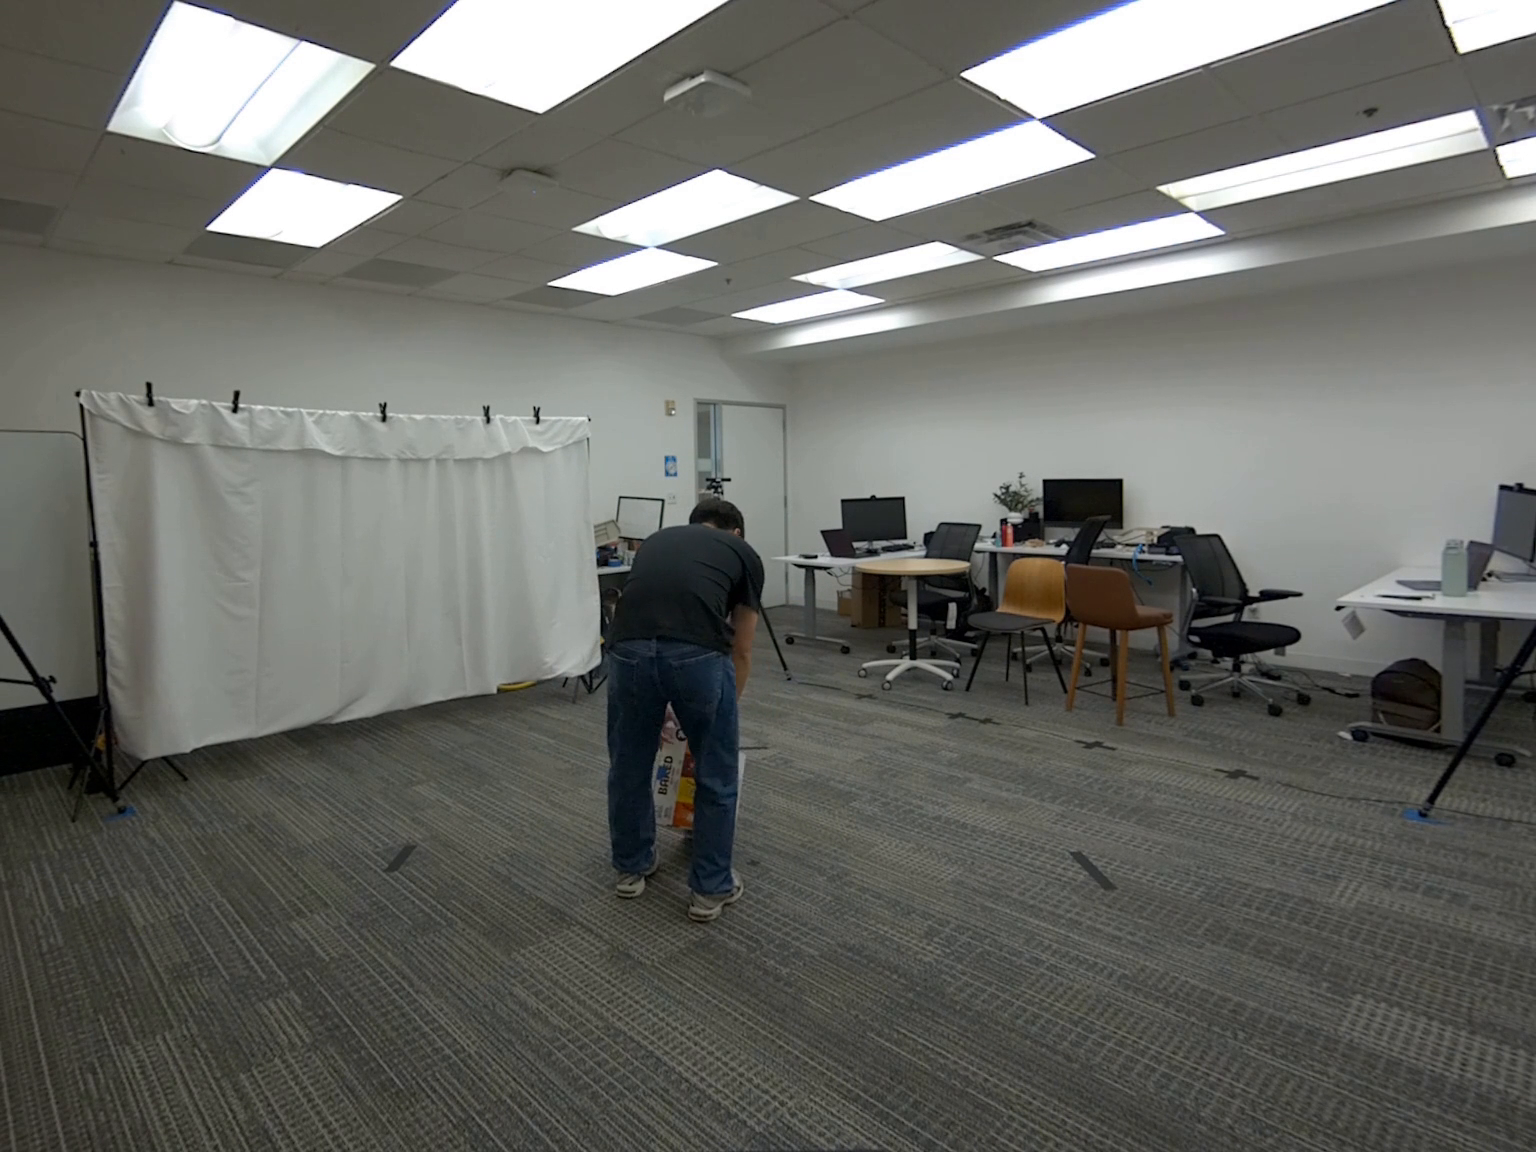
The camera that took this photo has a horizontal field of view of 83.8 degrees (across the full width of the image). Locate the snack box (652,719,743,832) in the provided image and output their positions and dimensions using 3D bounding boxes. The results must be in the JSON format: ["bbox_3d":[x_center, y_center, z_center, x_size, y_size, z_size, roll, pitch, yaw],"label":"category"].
[{"bbox_3d":[-0.252,0.788,3.204,0.209,0.345,0.392,3,-21,16],"label":"snack box"}]
